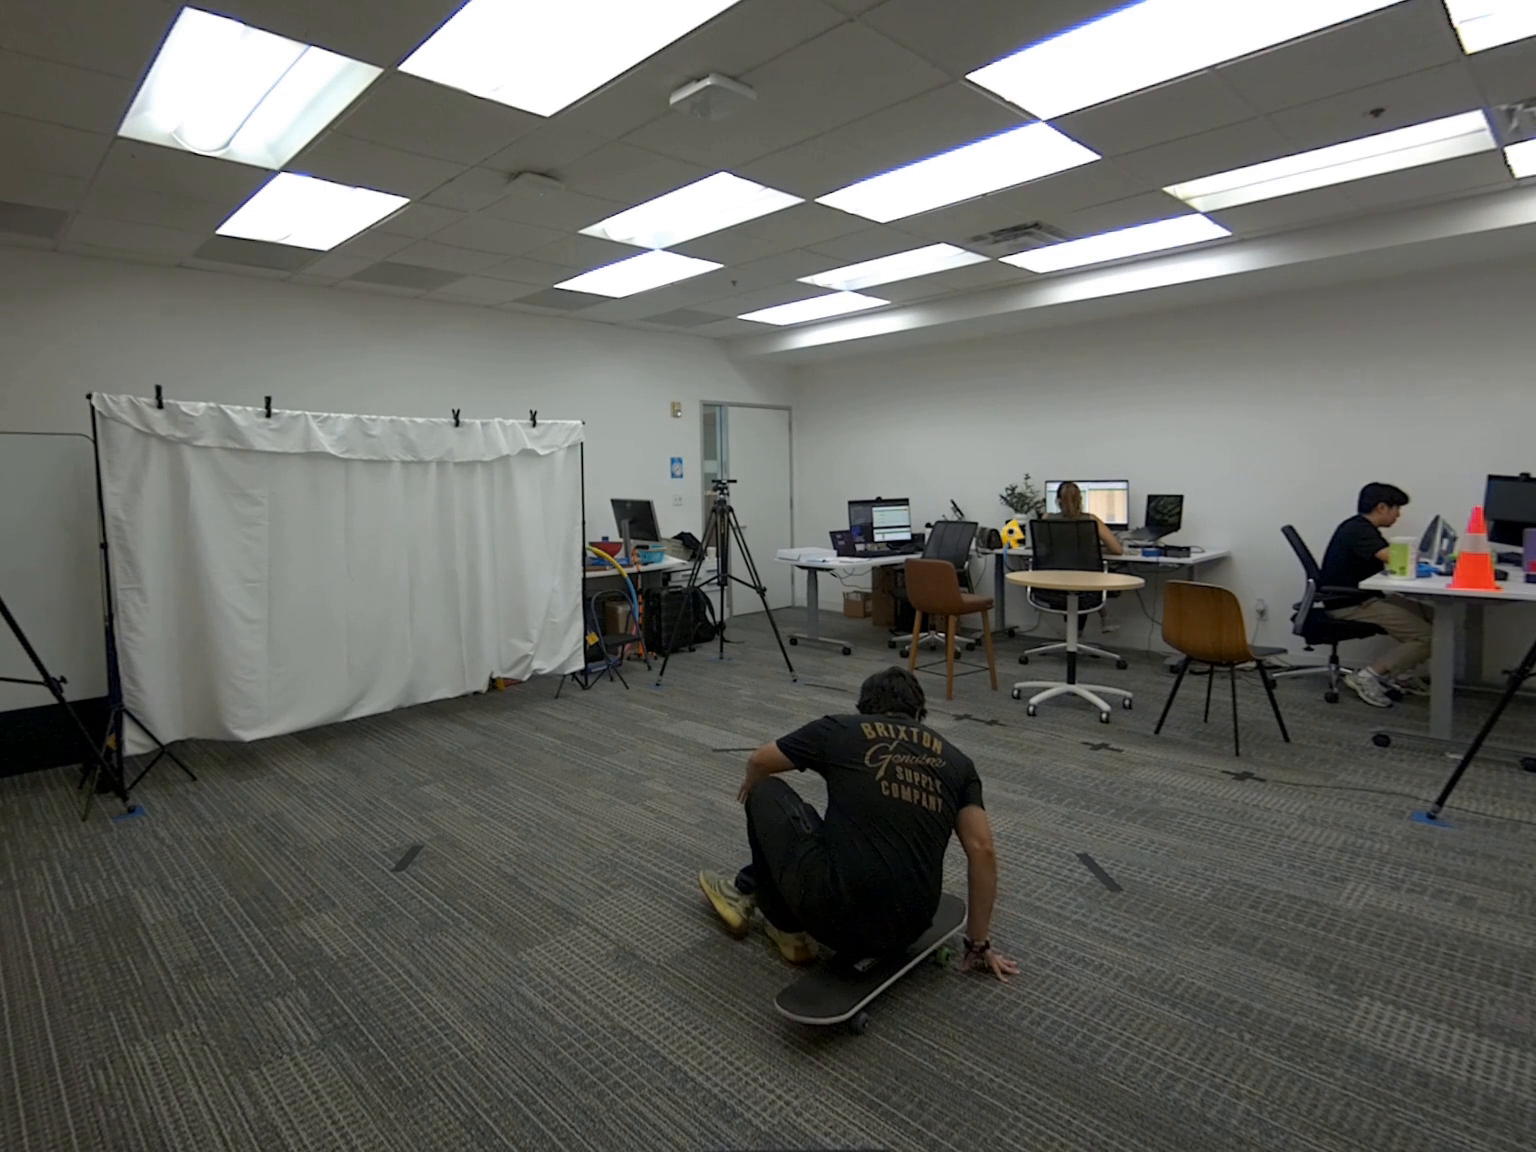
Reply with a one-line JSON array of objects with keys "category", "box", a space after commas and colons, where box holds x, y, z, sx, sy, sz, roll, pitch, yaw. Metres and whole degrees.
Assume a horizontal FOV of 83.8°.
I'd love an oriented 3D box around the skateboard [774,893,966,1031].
[{"category": "skateboard", "box": [0.304, 1.067, 2.361, 0.765, 0.110, 0.199, -8, 6, -44]}]
